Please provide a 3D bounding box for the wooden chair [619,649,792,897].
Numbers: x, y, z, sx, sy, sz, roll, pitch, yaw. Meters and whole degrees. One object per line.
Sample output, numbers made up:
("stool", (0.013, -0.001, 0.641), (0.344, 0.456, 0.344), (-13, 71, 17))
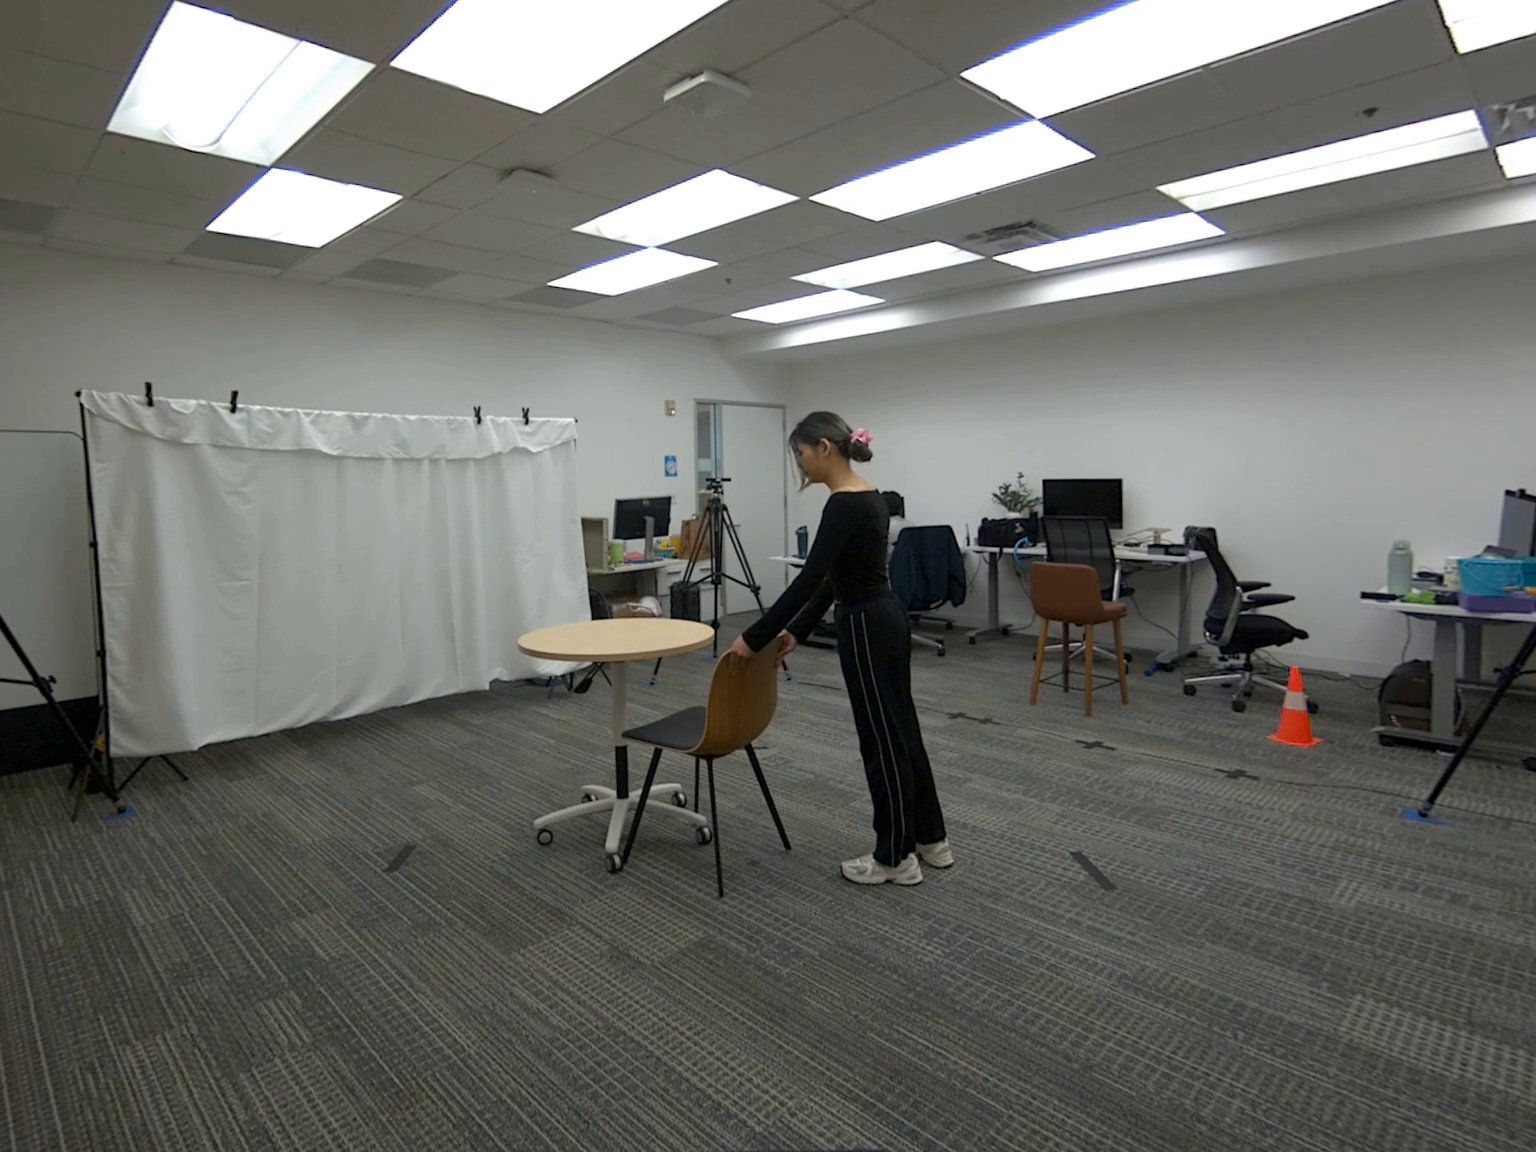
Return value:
("wooden chair", (-0.233, 0.611, 3.128), (0.539, 0.872, 0.467), (7, 9, 34))
